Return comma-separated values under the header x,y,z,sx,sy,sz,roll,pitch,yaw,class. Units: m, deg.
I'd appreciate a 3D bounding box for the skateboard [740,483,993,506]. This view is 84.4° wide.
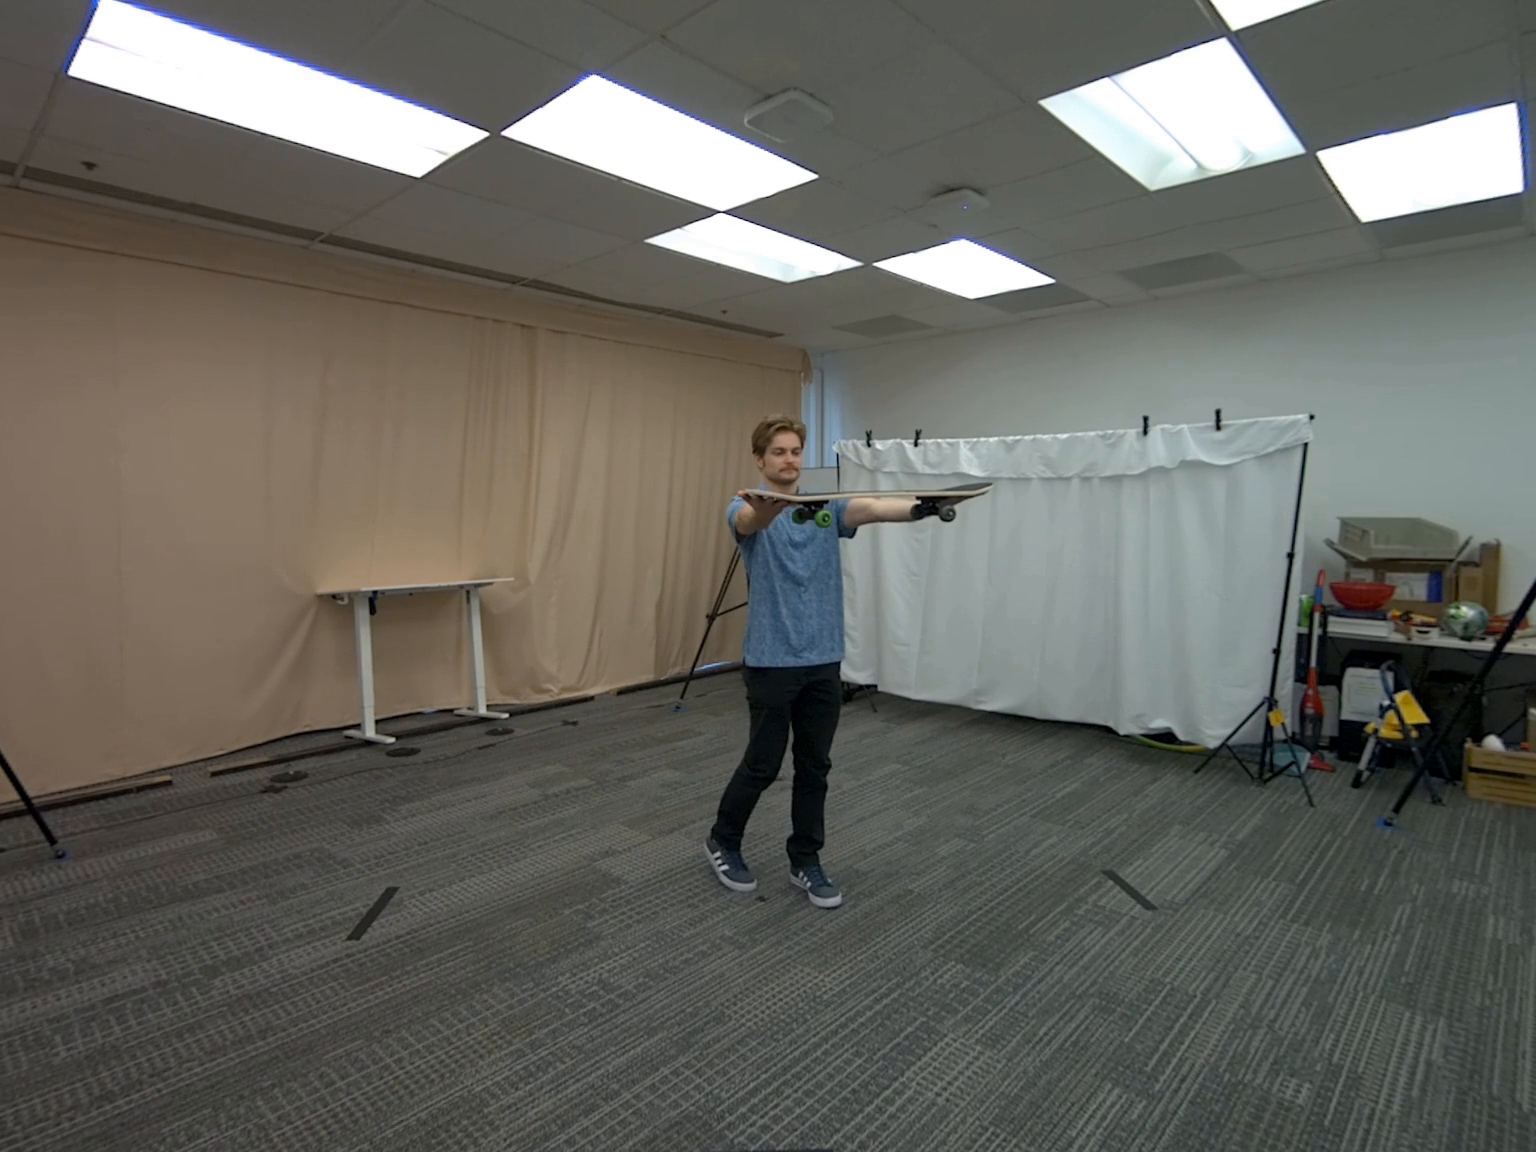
x,y,z,sx,sy,sz,roll,pitch,yaw,class
0.315,-0.199,2.461,0.771,0.110,0.197,-6,5,-19,skateboard
